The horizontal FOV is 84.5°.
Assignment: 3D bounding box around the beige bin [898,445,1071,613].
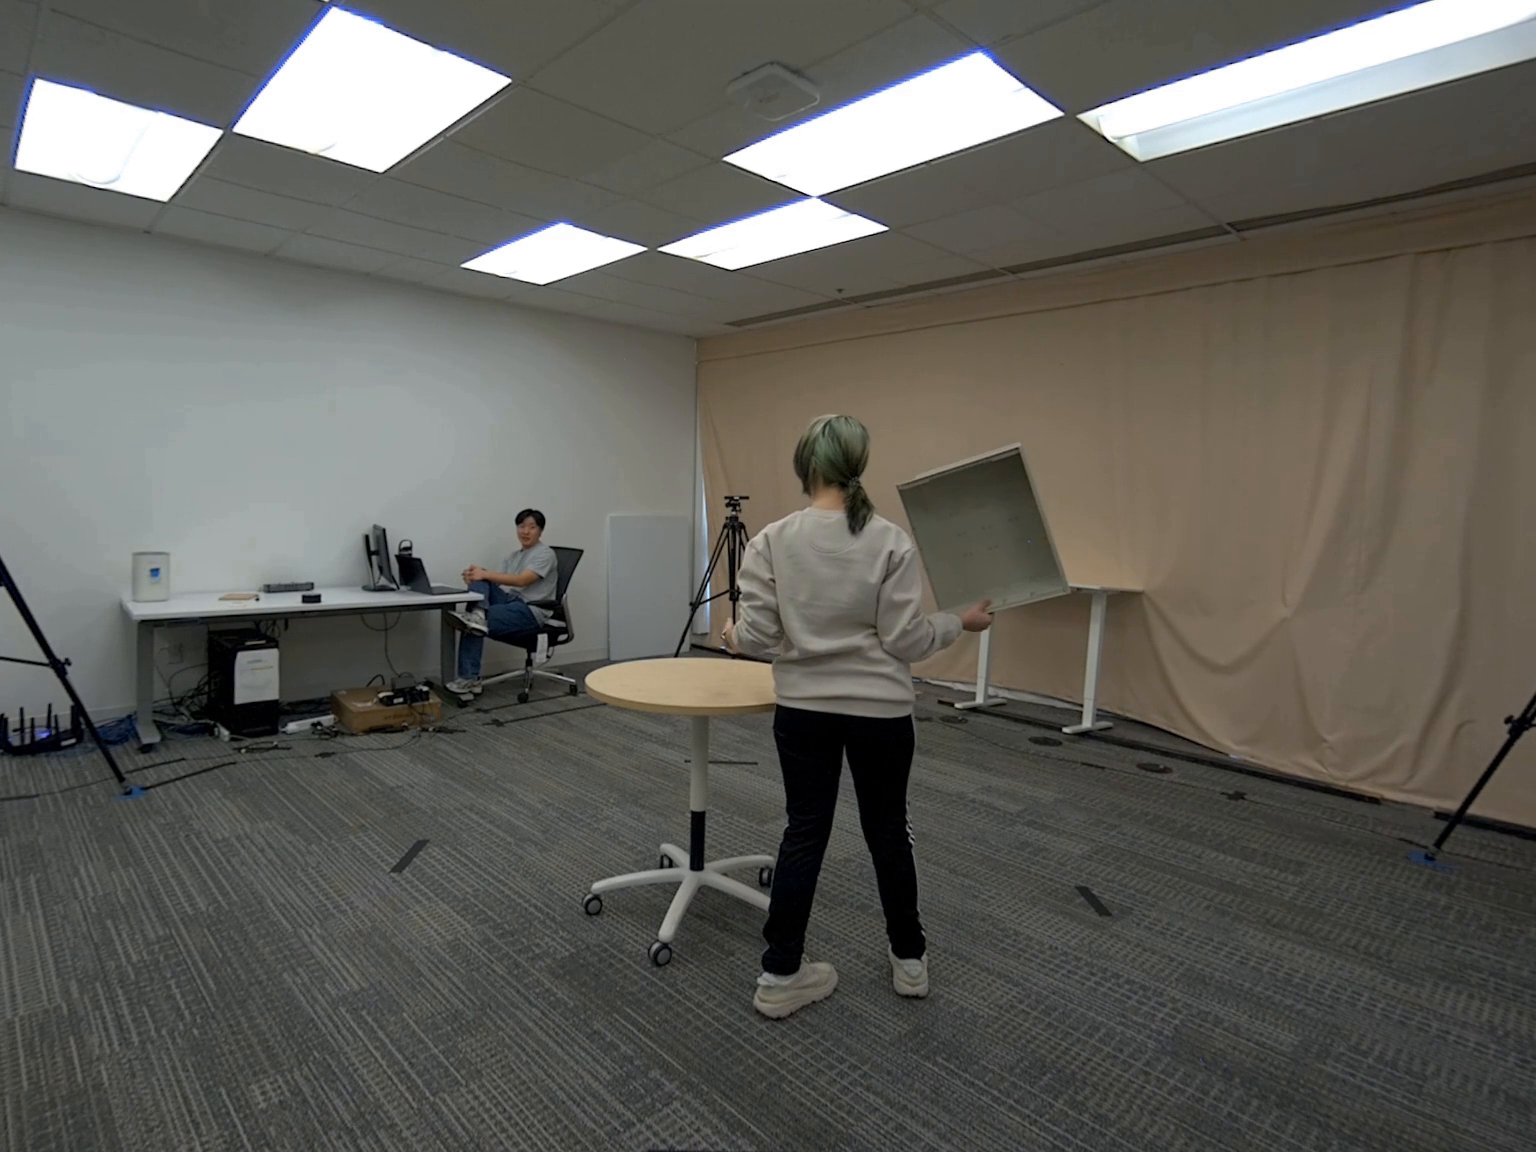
[{"bbox_3d":[0.596,-0.121,2.402,0.382,0.420,0.187,-18,5,23],"label":"beige bin"}]
